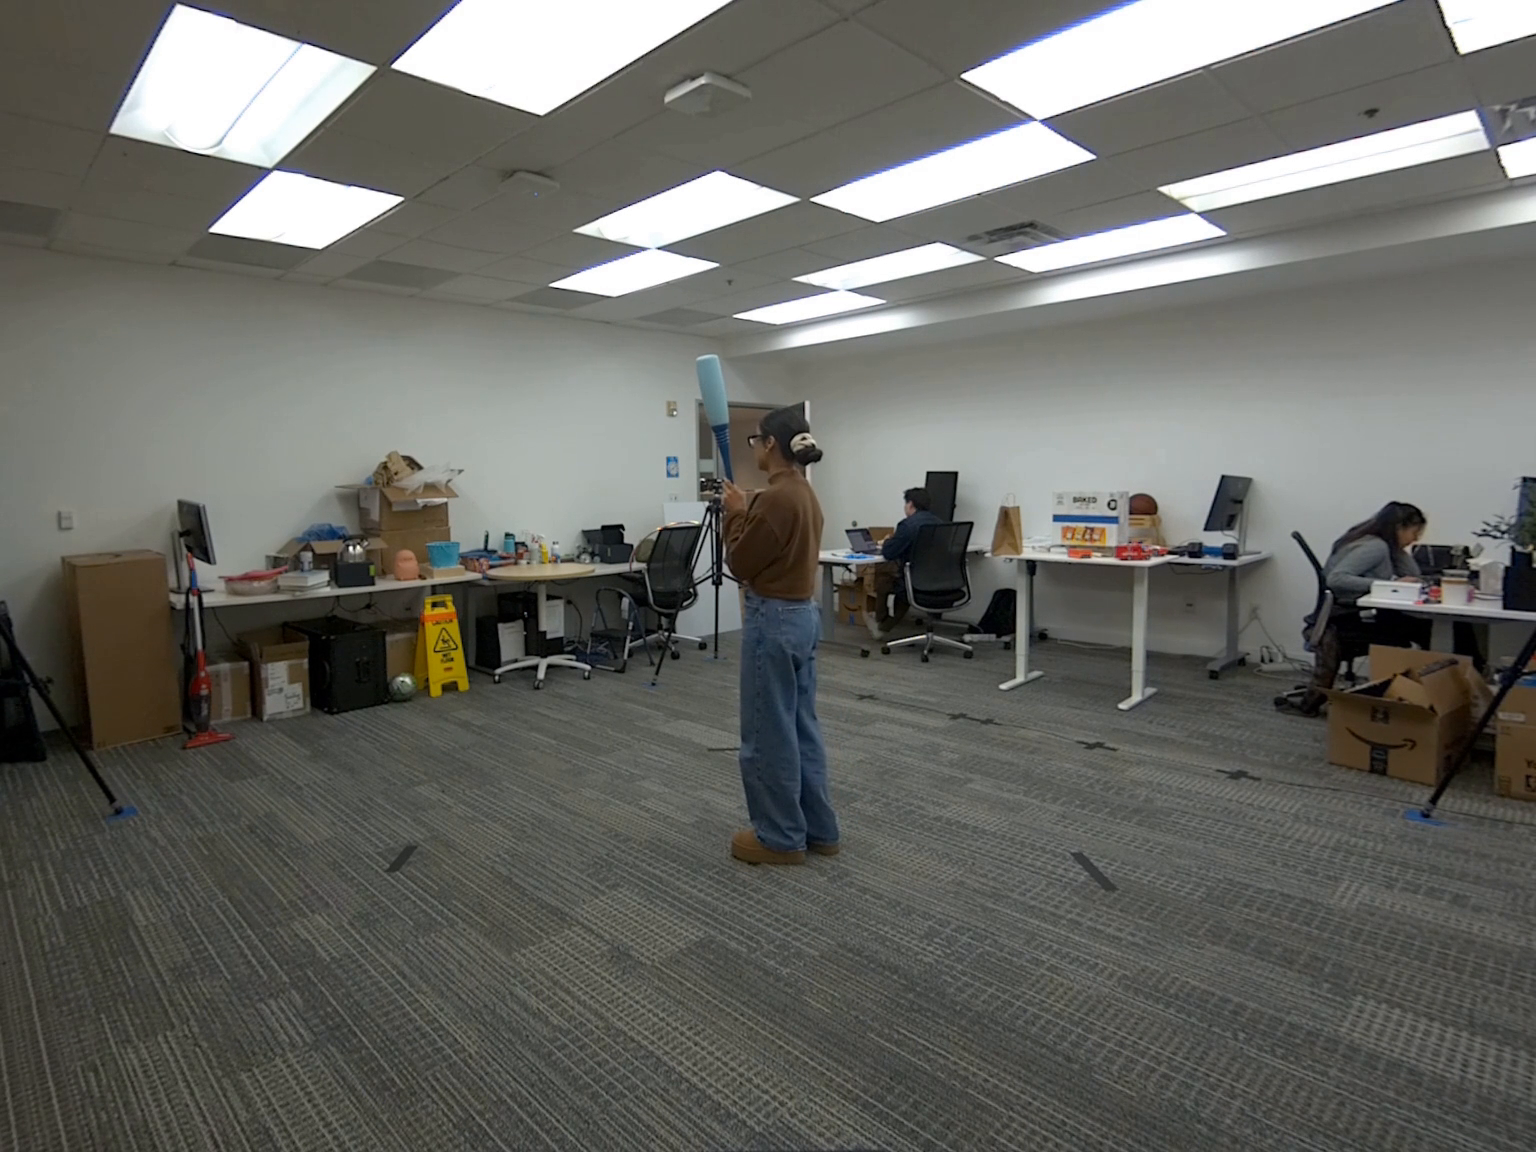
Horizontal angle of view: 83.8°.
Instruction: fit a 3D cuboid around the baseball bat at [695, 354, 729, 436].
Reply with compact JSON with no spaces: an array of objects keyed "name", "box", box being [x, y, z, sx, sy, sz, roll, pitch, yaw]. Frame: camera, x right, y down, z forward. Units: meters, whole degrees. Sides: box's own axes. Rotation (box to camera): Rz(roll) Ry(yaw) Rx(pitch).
[{"name":"baseball bat","box":[-0.167,-0.538,3.130,0.089,0.537,0.090,-11,9,0]}]
